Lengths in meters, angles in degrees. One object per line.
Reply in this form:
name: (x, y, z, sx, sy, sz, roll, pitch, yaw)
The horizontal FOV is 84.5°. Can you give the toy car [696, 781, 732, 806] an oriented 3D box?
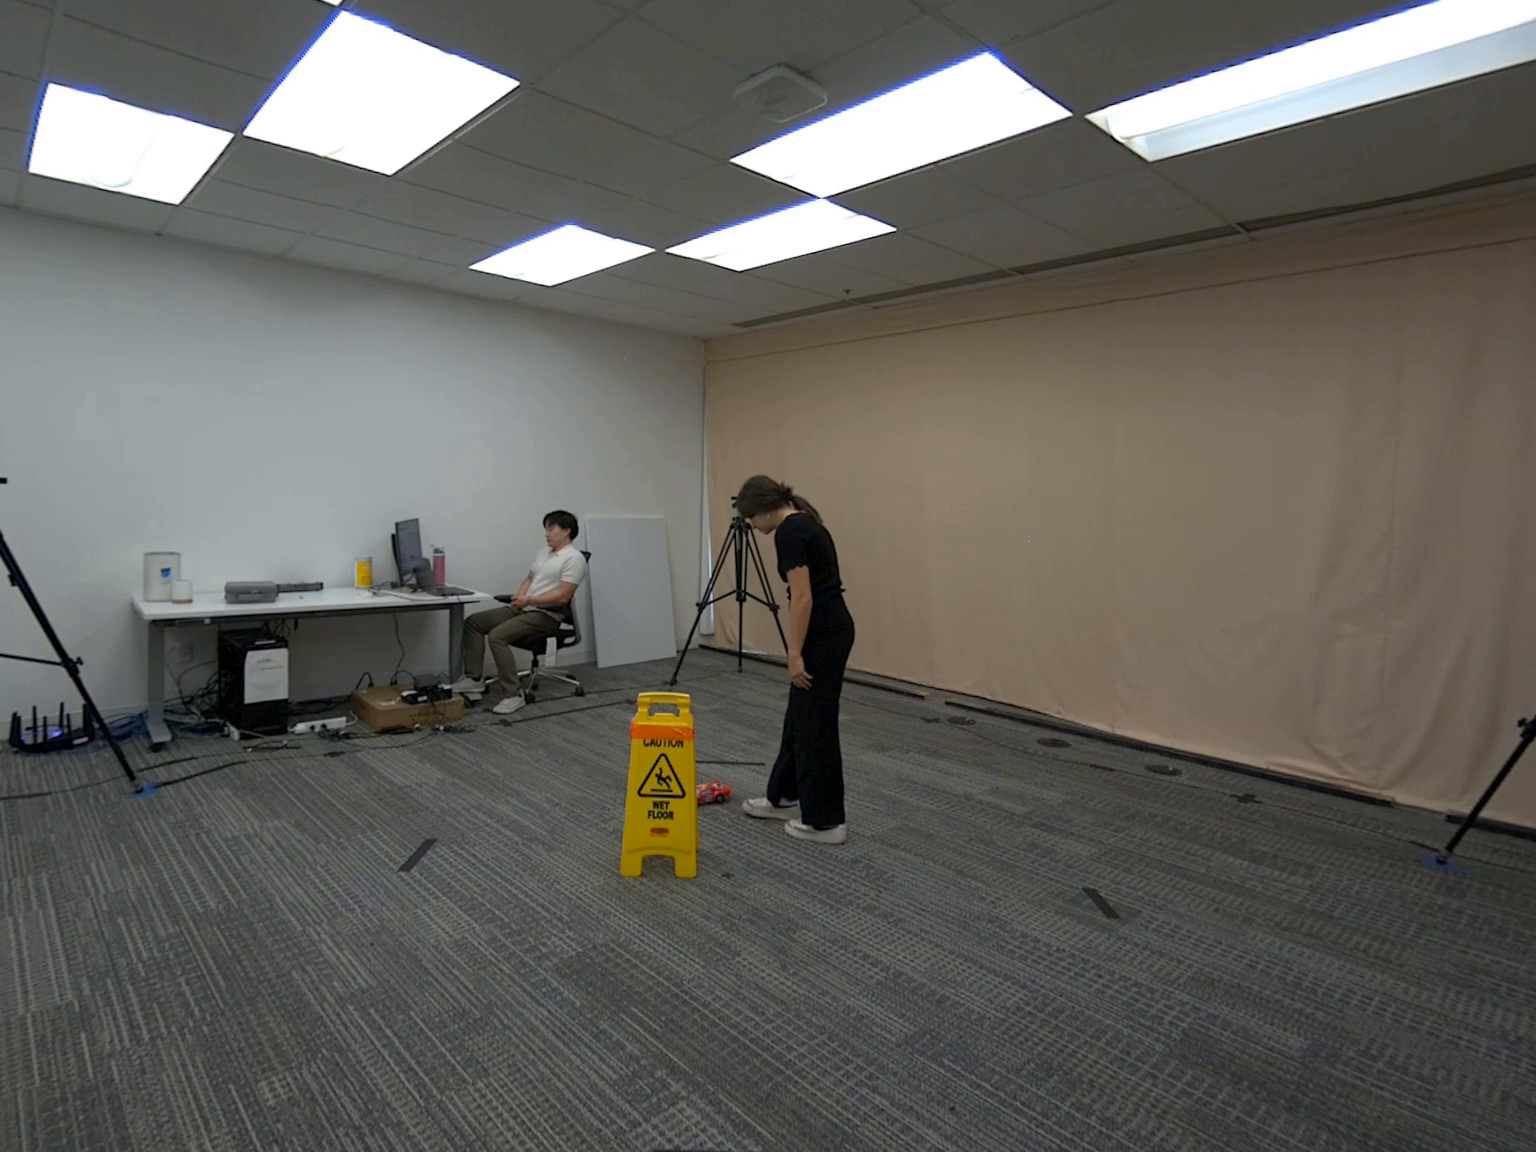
toy car: (-0.299, 1.002, 3.866, 0.251, 0.082, 0.133, -14, 11, -23)
